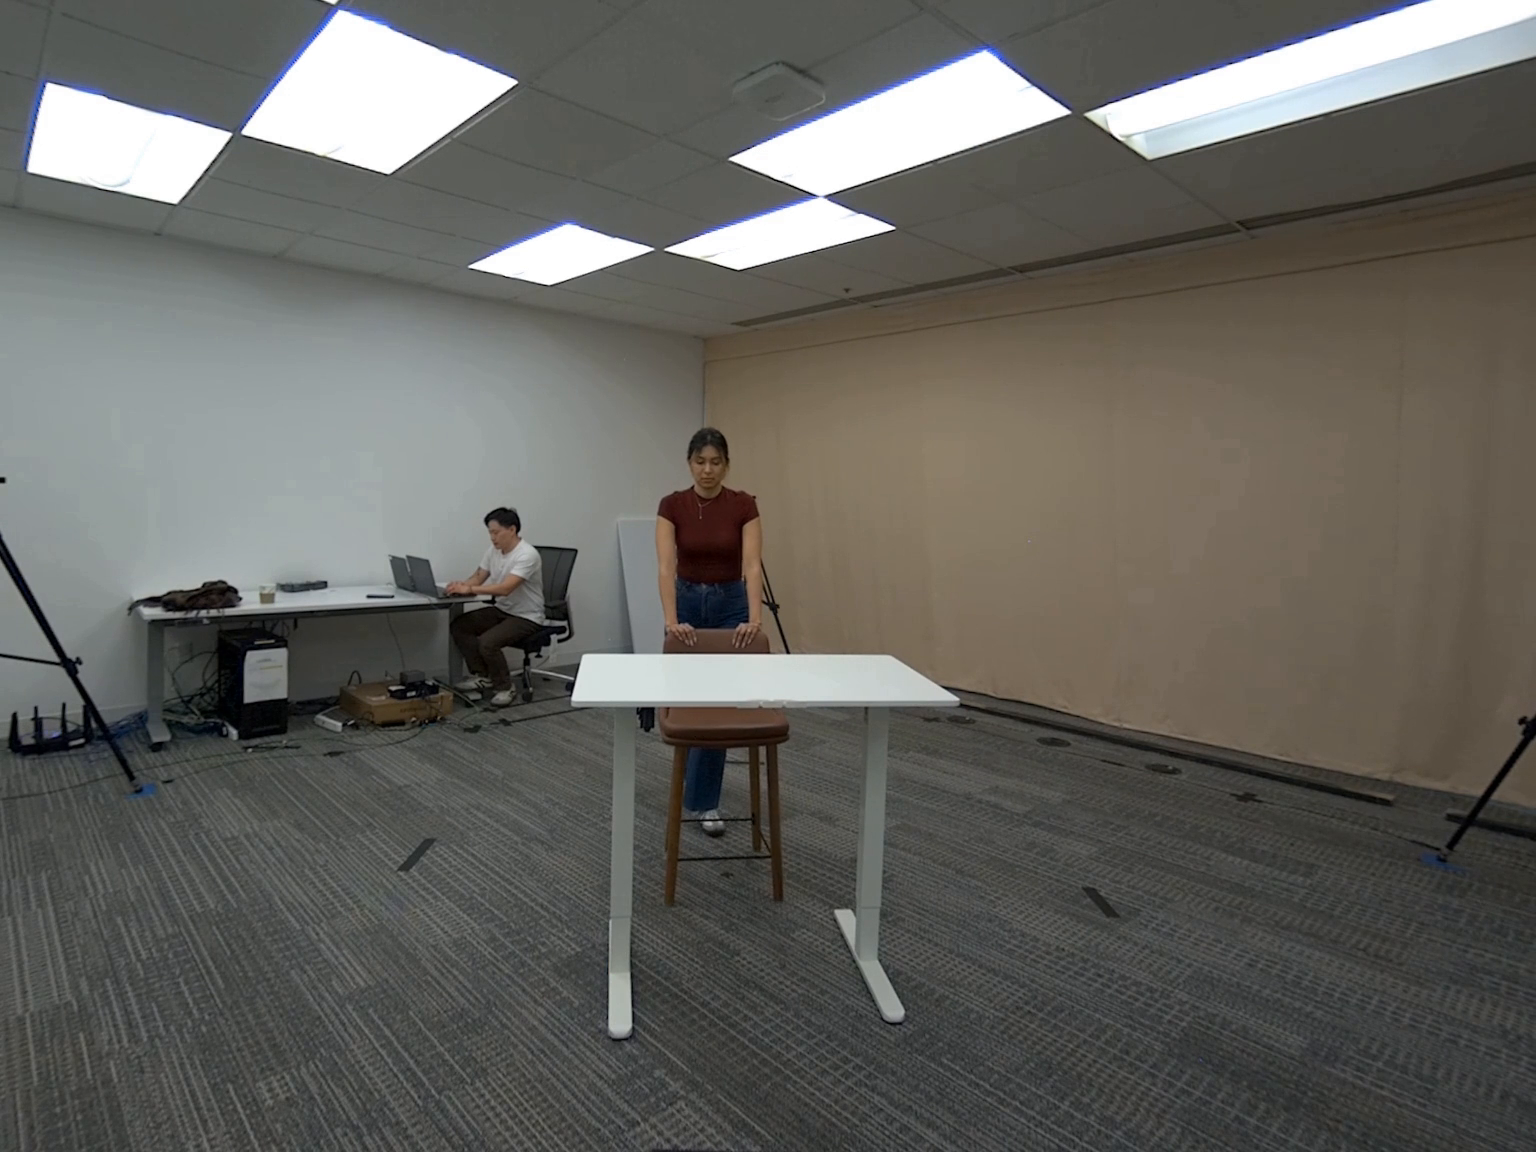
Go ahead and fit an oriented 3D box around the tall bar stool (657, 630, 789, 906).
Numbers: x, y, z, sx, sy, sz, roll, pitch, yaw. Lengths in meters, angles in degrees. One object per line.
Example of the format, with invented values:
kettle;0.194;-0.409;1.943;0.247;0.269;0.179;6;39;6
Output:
tall bar stool;-0.175;0.664;3.082;0.454;0.889;0.470;1;1;-7
